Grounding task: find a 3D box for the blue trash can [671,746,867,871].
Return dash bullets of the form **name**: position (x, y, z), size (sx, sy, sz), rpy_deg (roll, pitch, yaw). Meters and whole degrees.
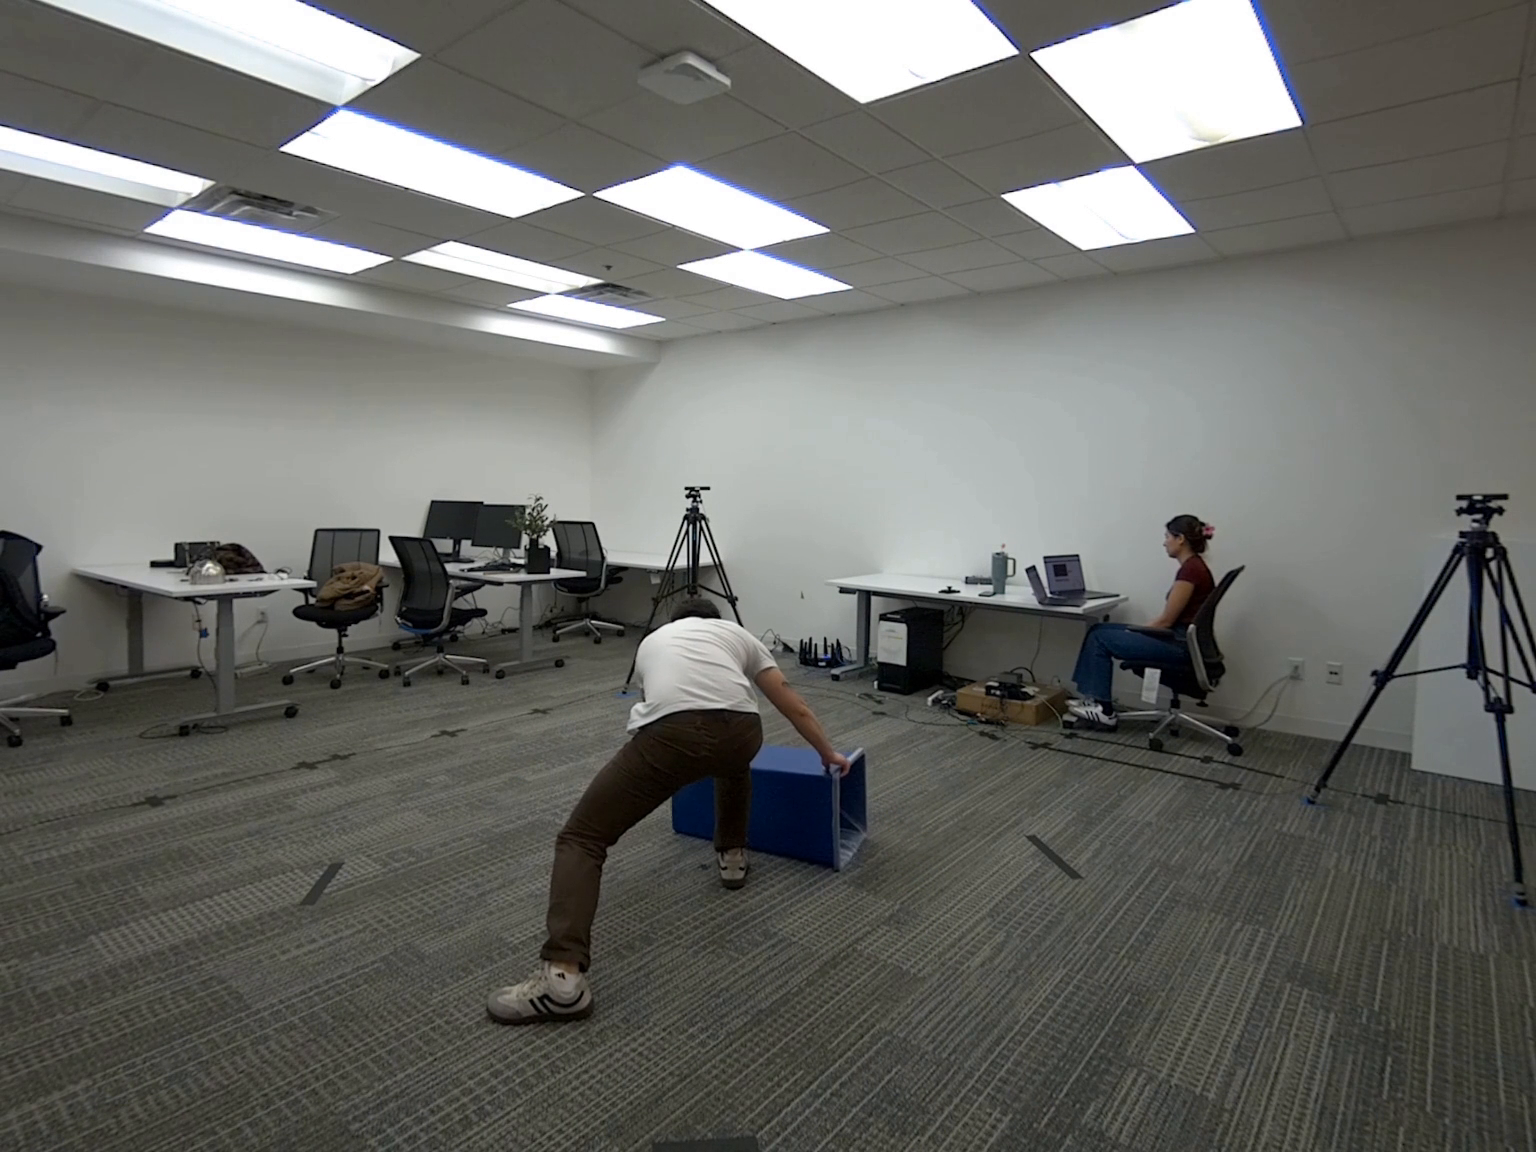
- **blue trash can**: position (-0.016, 0.868, 3.410), size (0.731, 0.376, 0.366), rpy_deg (1, 5, 25)
